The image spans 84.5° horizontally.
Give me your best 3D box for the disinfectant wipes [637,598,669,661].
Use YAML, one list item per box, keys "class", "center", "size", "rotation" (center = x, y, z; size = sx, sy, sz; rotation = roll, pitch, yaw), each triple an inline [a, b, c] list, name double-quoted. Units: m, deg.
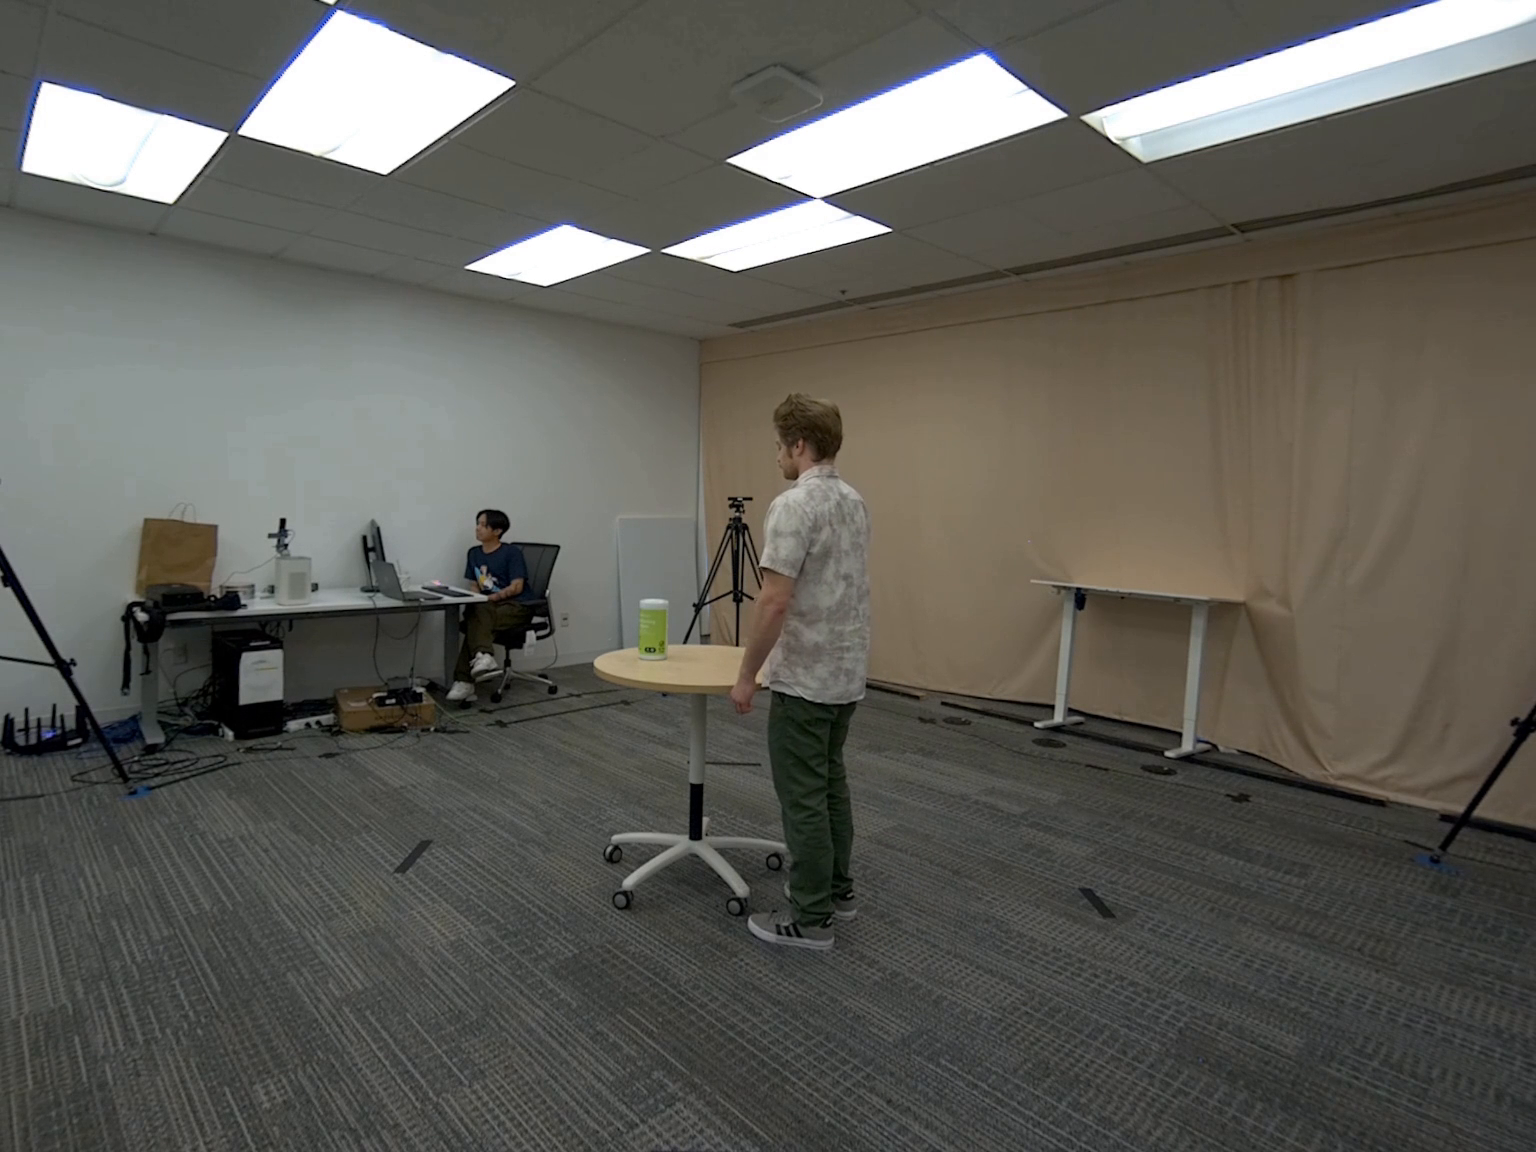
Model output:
- class: "disinfectant wipes"
  center: [-0.431, 0.202, 3.122]
  size: [0.118, 0.217, 0.118]
  rotation: [2, 2, -1]
